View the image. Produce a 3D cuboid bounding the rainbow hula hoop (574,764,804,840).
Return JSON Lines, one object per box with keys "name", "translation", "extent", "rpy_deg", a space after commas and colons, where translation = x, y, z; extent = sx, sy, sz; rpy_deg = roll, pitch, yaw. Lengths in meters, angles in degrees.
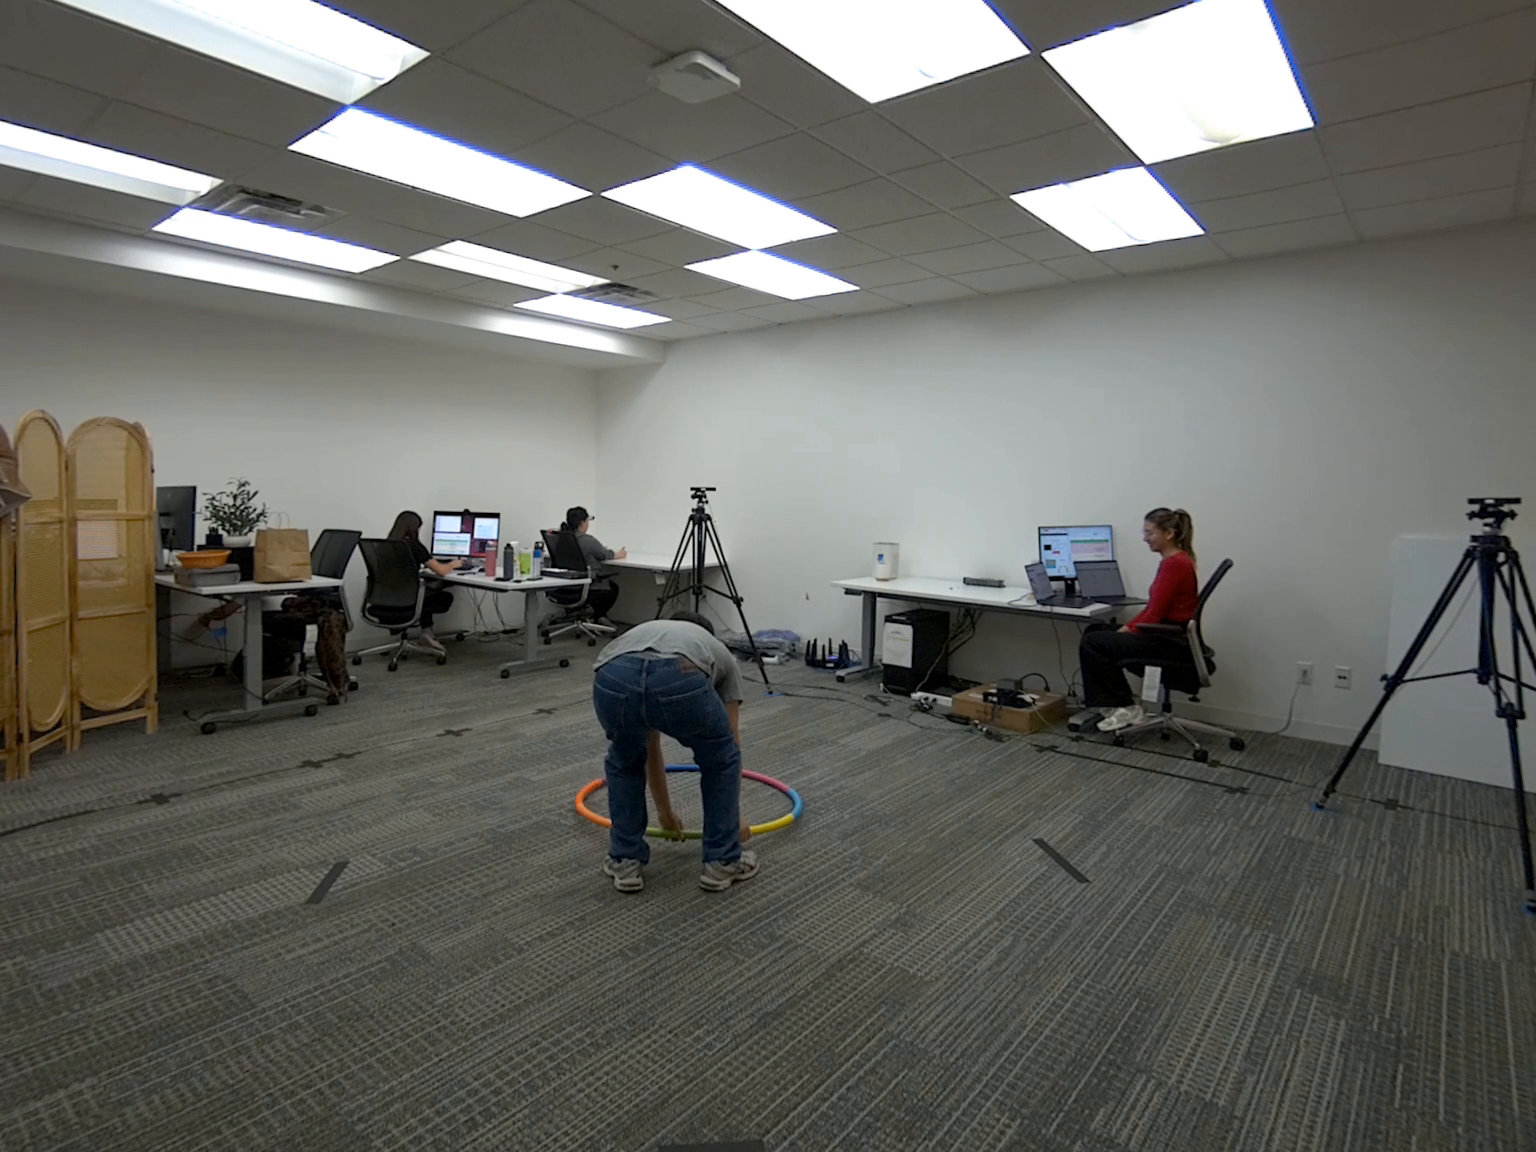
{"name": "rainbow hula hoop", "translation": [-0.361, 0.955, 3.706], "extent": [0.978, 0.035, 0.981], "rpy_deg": [1, 2, -2]}
